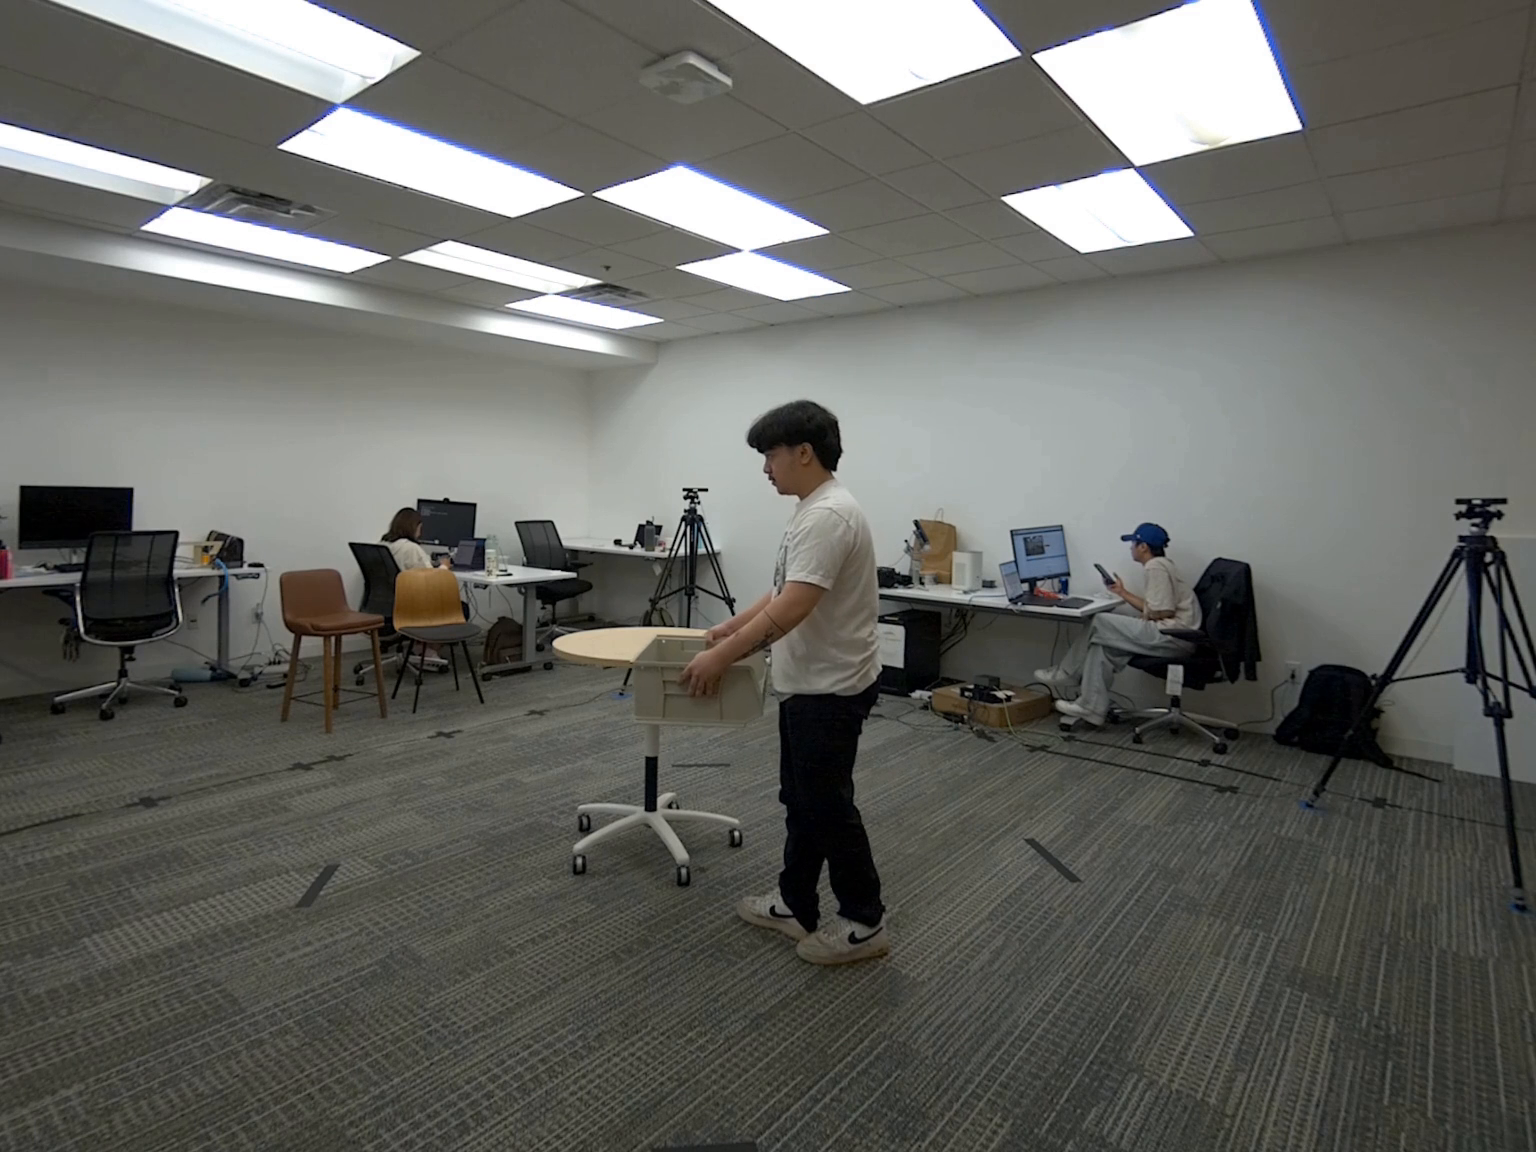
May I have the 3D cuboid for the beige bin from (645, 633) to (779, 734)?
[{"bbox_3d":[-0.165,0.308,2.572,0.377,0.188,0.425,-4,7,-2],"label":"beige bin"}]
